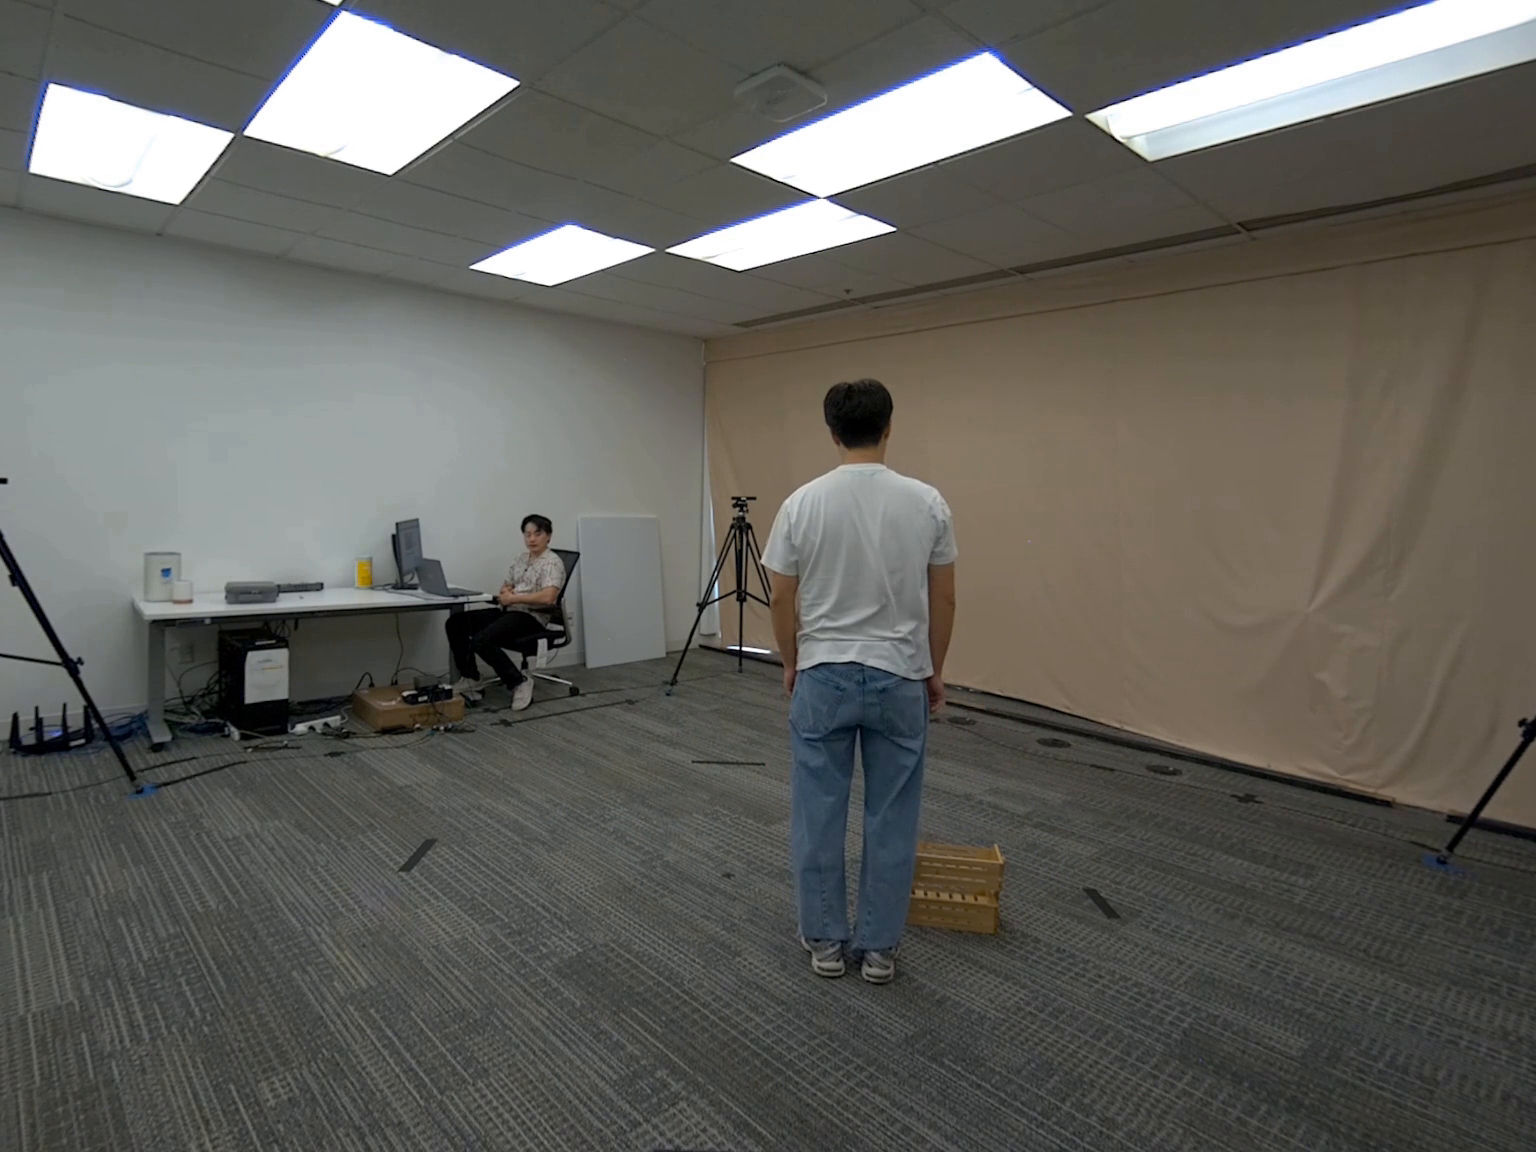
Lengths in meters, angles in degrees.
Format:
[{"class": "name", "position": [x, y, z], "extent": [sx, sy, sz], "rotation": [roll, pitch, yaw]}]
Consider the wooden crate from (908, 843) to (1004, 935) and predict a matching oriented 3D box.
[{"class": "wooden crate", "position": [0.617, 1.020, 2.846], "extent": [0.327, 0.272, 0.301], "rotation": [2, 5, 8]}]
